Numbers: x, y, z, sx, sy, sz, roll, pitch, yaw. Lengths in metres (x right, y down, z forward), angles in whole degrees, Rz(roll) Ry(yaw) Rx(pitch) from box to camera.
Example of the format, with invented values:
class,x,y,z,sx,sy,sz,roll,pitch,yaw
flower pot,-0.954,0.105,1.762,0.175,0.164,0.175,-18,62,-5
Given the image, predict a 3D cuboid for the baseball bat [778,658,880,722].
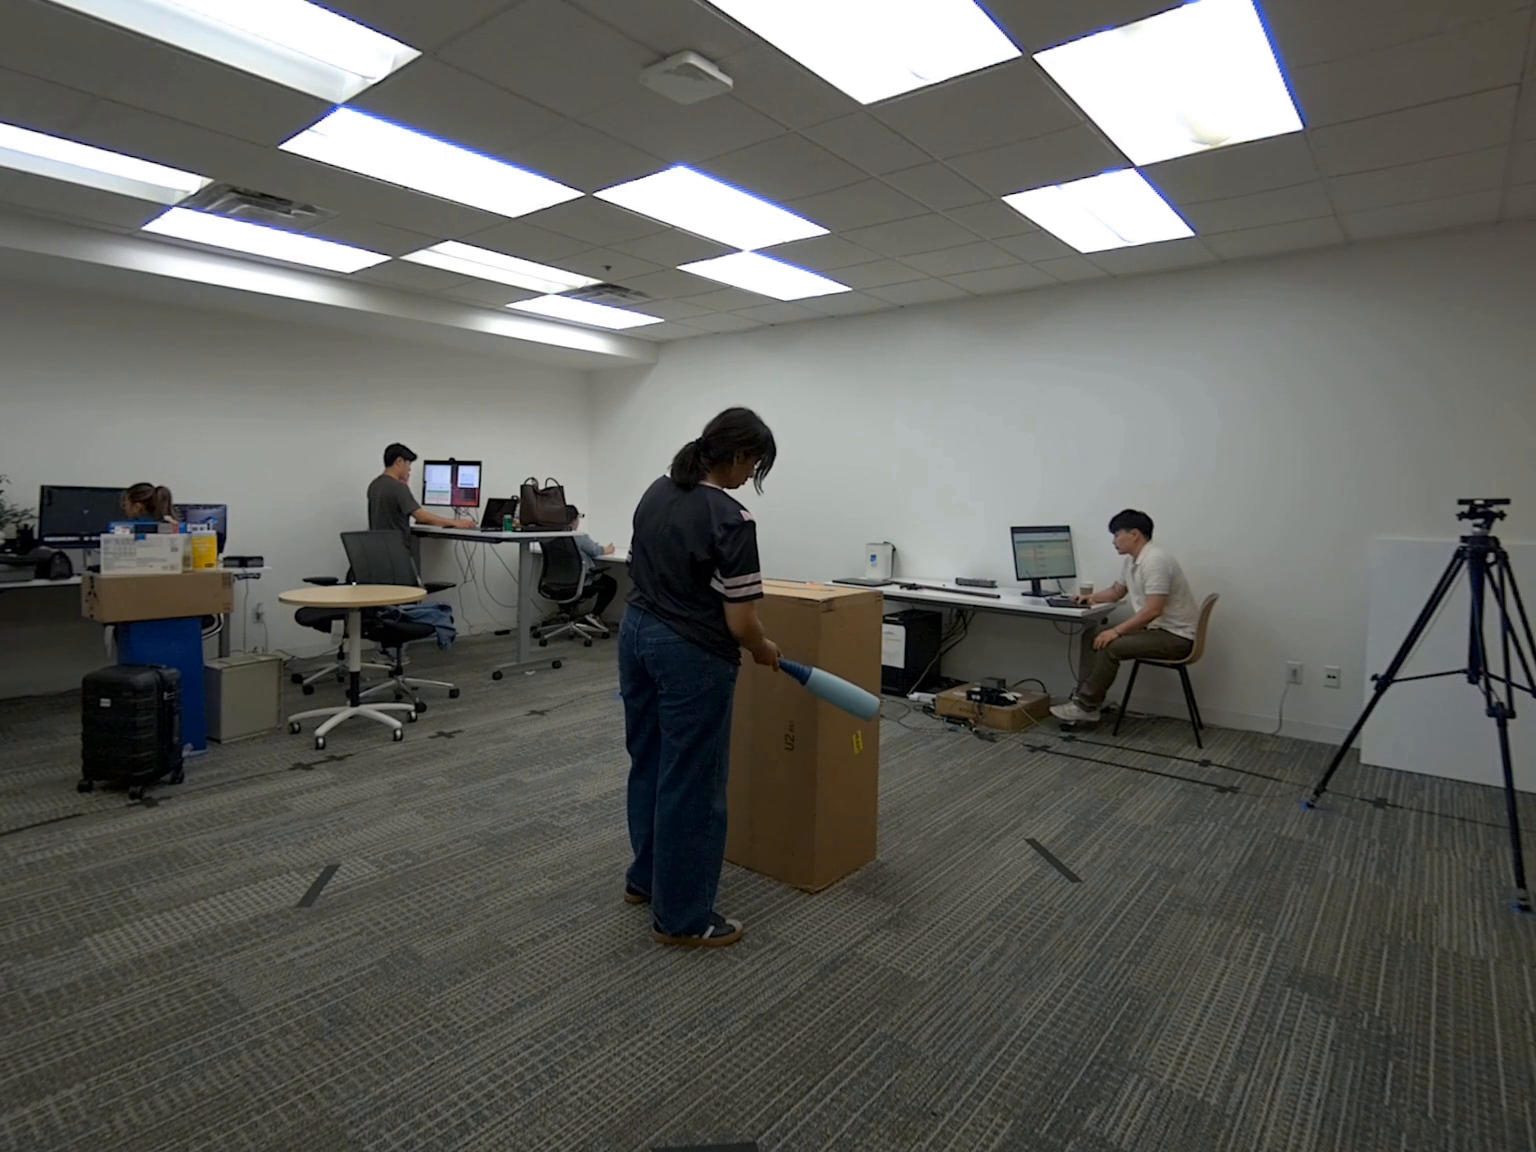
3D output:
class,x,y,z,sx,sy,sz,roll,pitch,yaw
baseball bat,0.106,0.320,2.779,0.543,0.089,0.089,27,4,0
